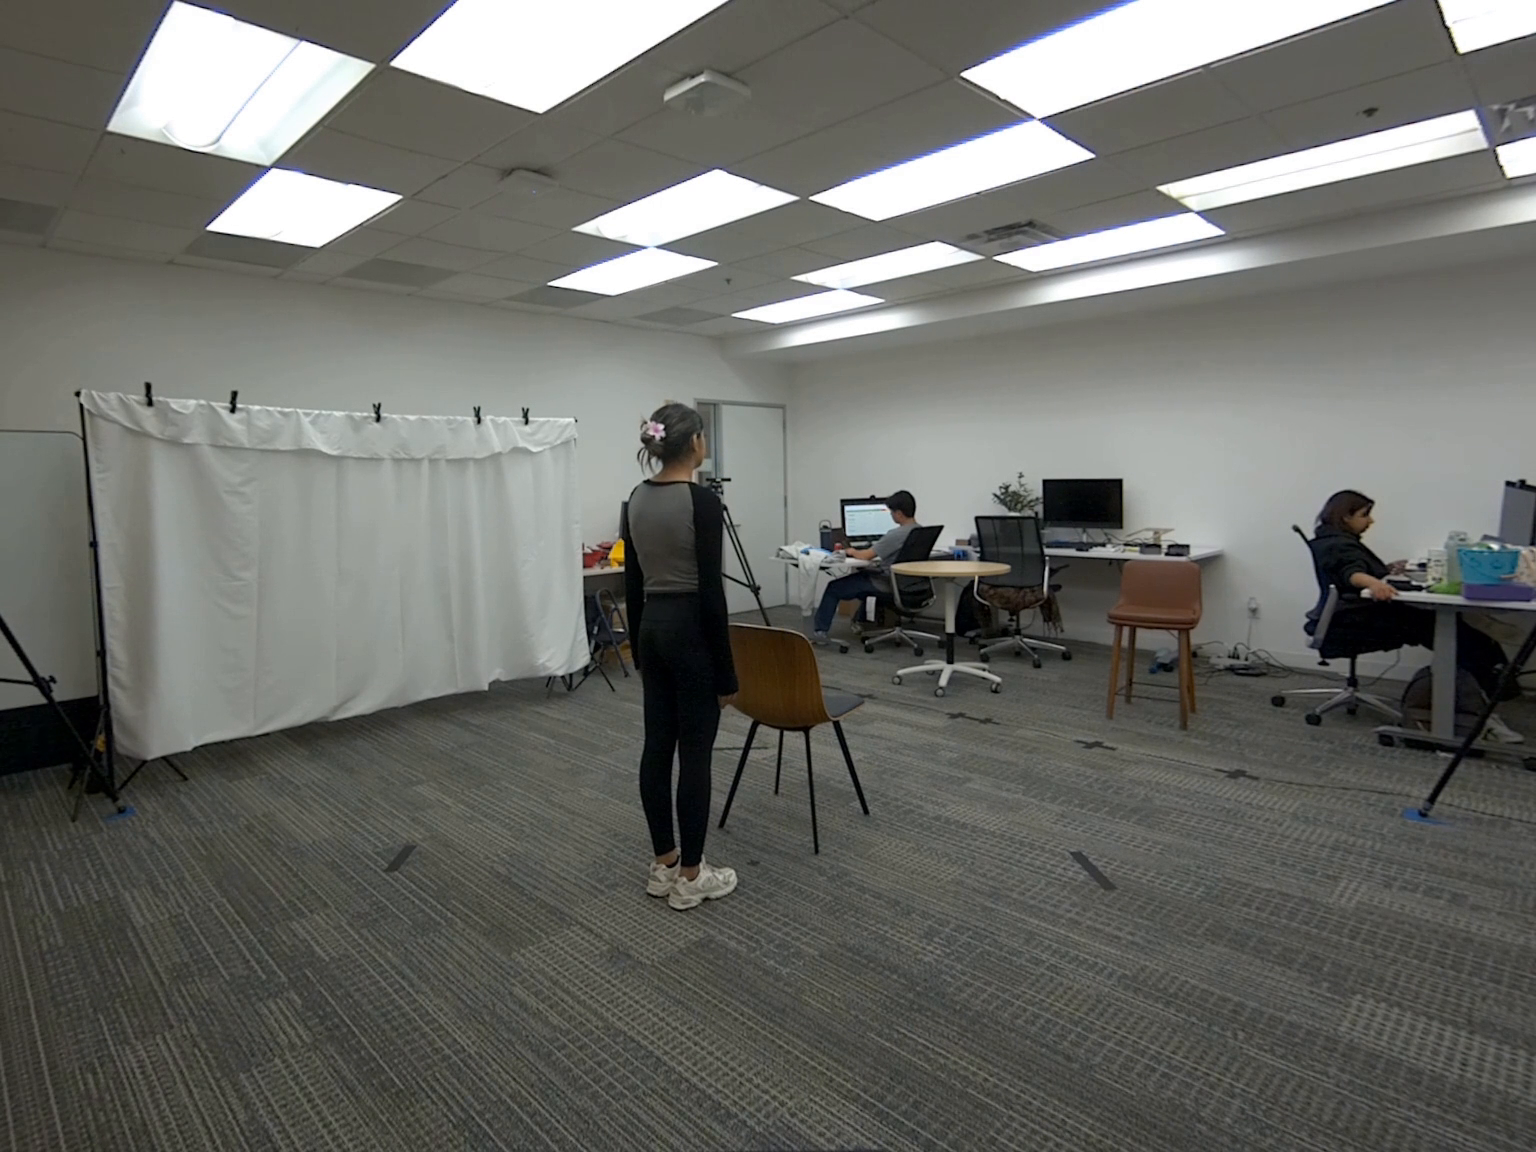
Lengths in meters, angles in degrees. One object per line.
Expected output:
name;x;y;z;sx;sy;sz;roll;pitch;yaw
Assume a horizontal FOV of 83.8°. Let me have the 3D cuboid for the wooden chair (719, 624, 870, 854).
wooden chair;0.108;0.572;3.453;0.491;0.871;0.513;2;9;33
